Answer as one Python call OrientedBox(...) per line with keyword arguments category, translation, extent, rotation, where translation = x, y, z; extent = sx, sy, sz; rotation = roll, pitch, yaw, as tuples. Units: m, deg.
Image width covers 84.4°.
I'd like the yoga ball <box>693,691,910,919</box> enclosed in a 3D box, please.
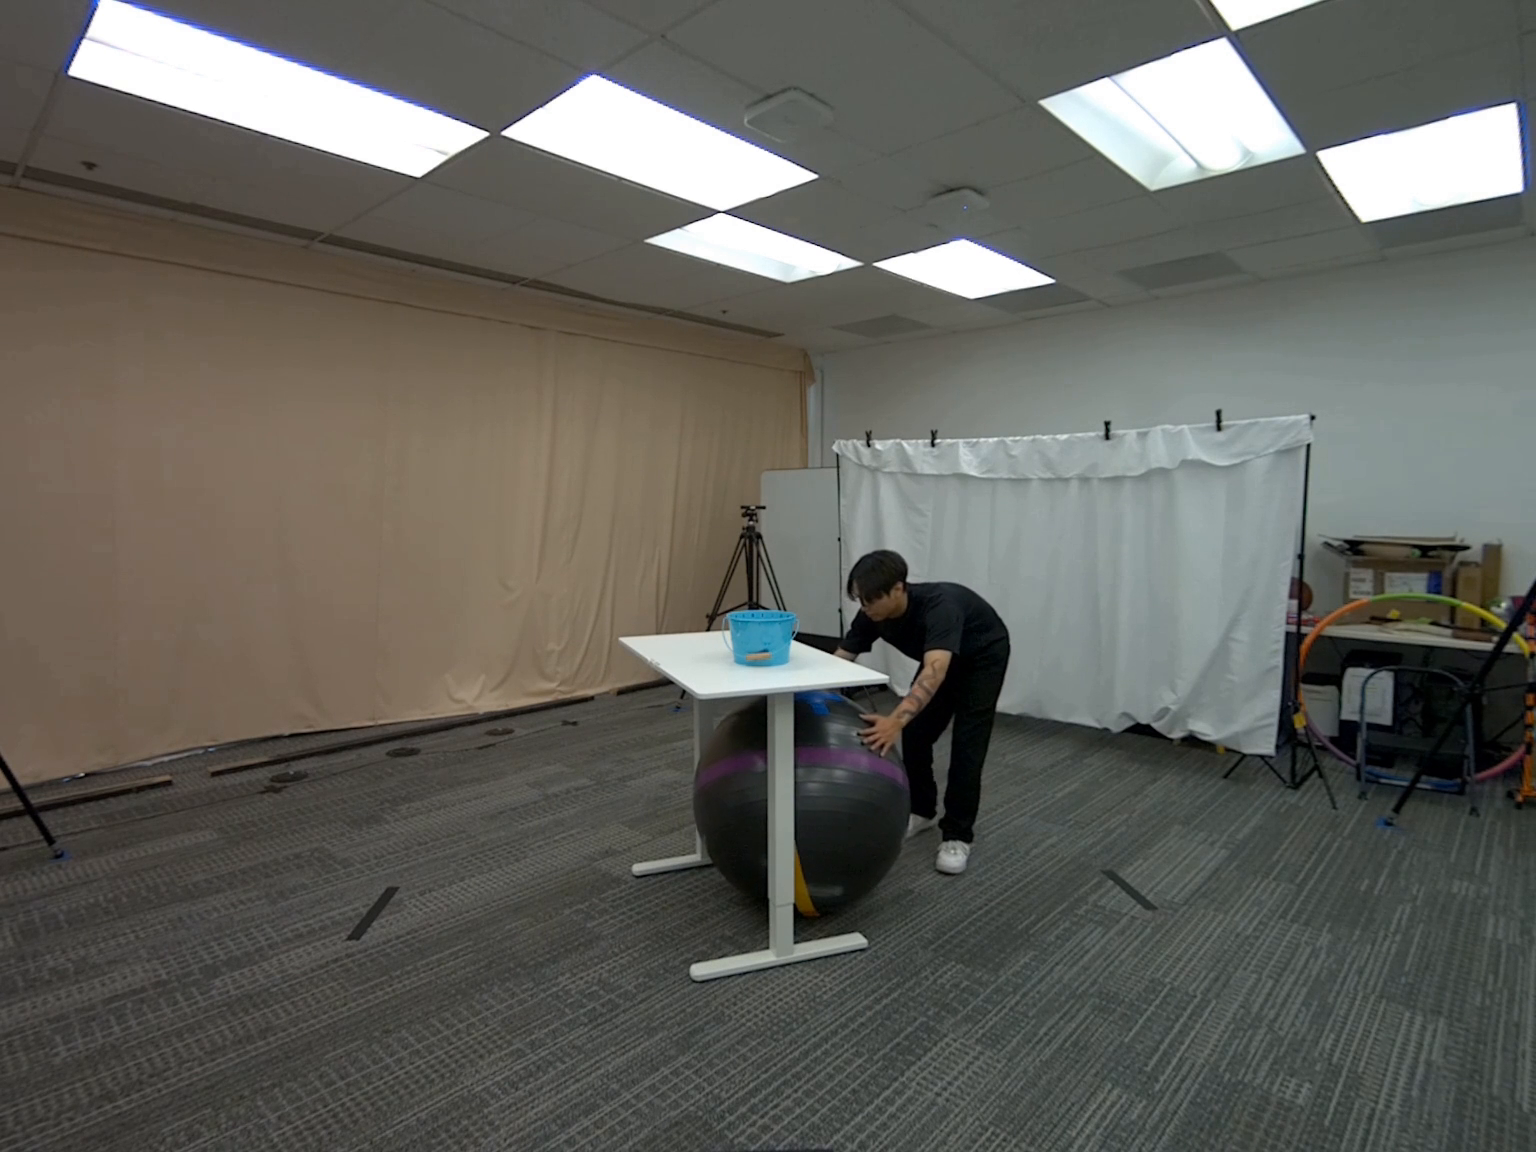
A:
OrientedBox(category="yoga ball", translation=(0.117, 0.778, 2.965), extent=(0.757, 0.756, 0.760), rotation=(0, 4, -2))
